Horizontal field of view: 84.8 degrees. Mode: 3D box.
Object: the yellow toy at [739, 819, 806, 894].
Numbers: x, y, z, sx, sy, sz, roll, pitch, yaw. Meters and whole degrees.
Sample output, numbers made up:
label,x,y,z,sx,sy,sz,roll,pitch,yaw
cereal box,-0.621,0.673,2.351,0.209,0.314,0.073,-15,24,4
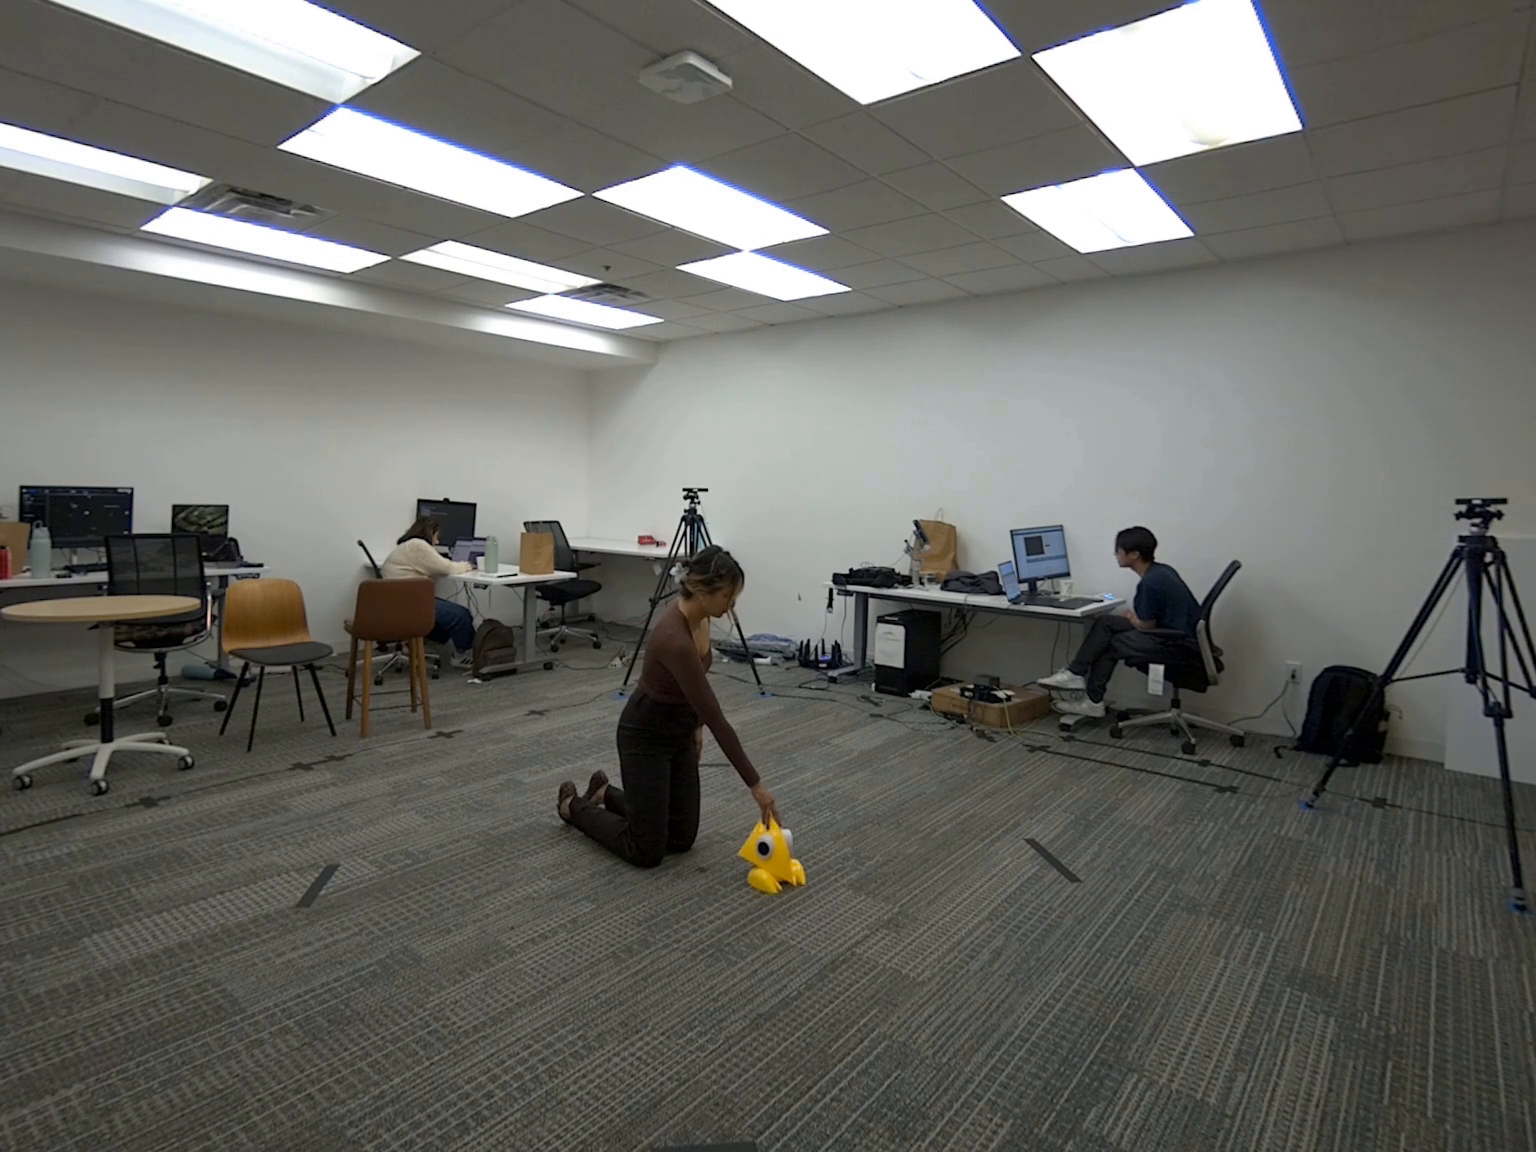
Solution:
label,x,y,z,sx,sy,sz,roll,pitch,yaw
yellow toy,0.017,0.969,3.030,0.199,0.230,0.199,-1,4,-34
